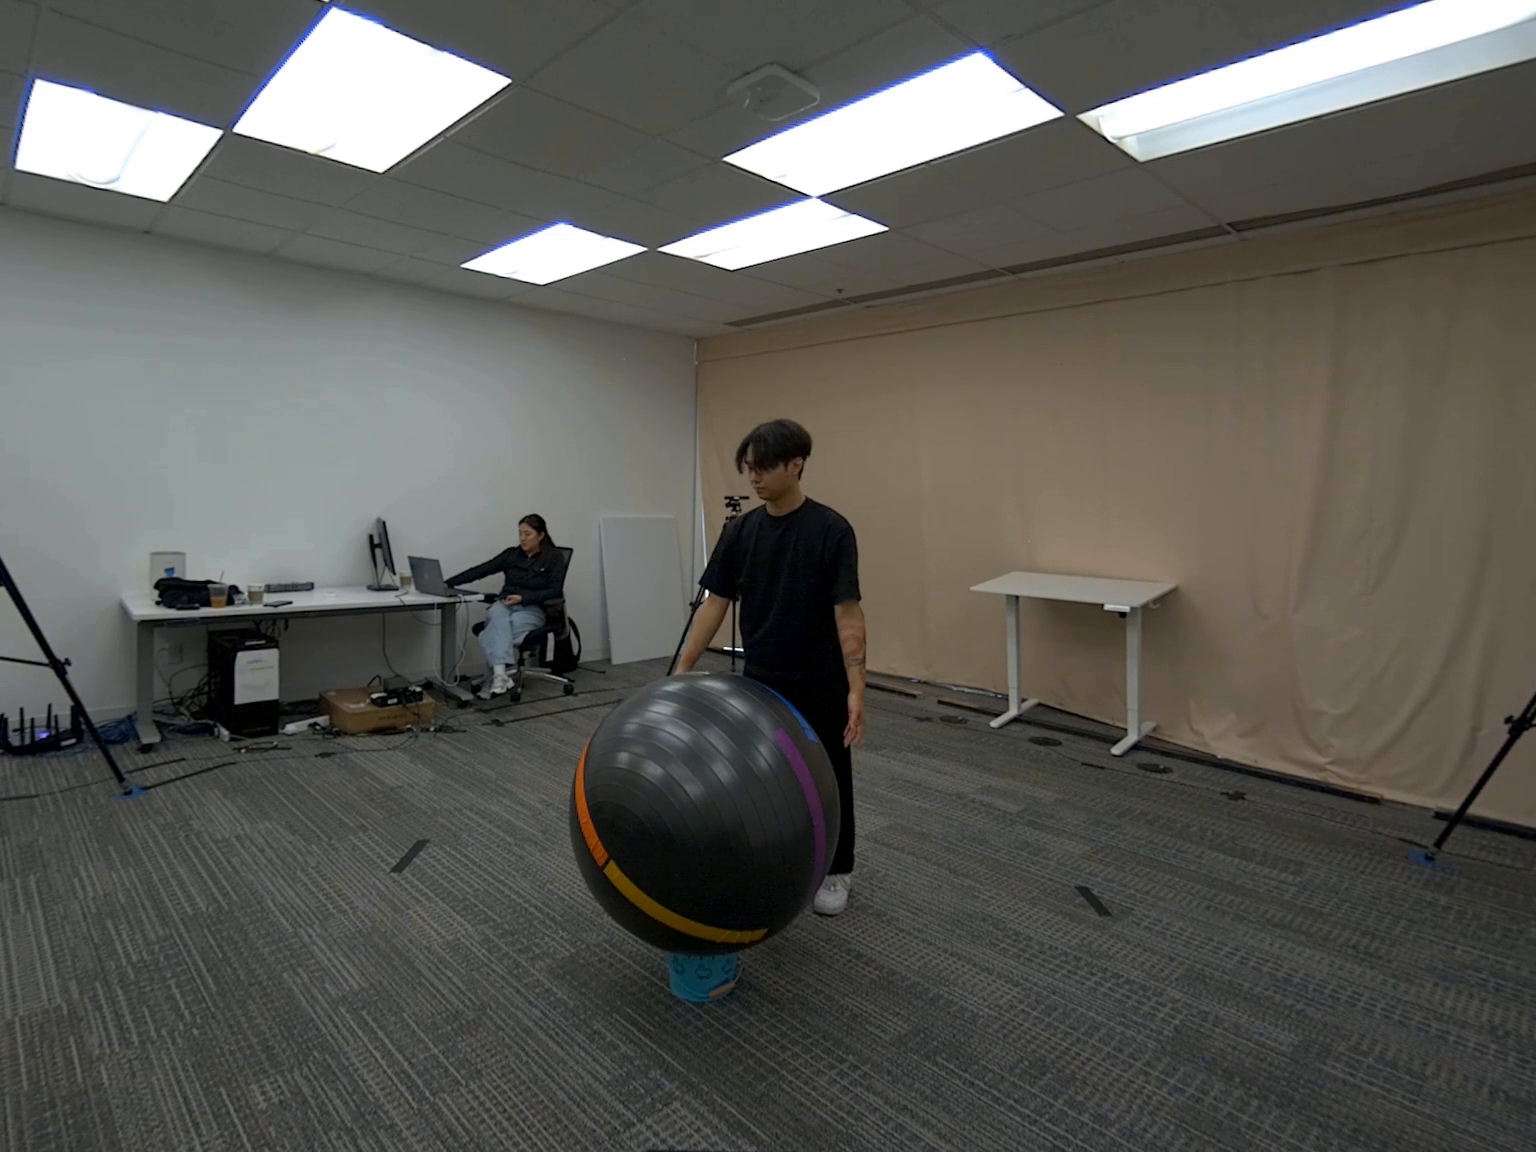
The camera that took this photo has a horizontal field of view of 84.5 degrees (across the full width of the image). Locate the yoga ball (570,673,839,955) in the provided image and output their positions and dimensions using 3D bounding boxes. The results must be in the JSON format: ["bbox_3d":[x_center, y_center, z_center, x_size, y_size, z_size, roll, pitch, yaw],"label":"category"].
[{"bbox_3d":[-0.186,0.664,2.370,0.757,0.756,0.761,1,4,-1],"label":"yoga ball"}]
